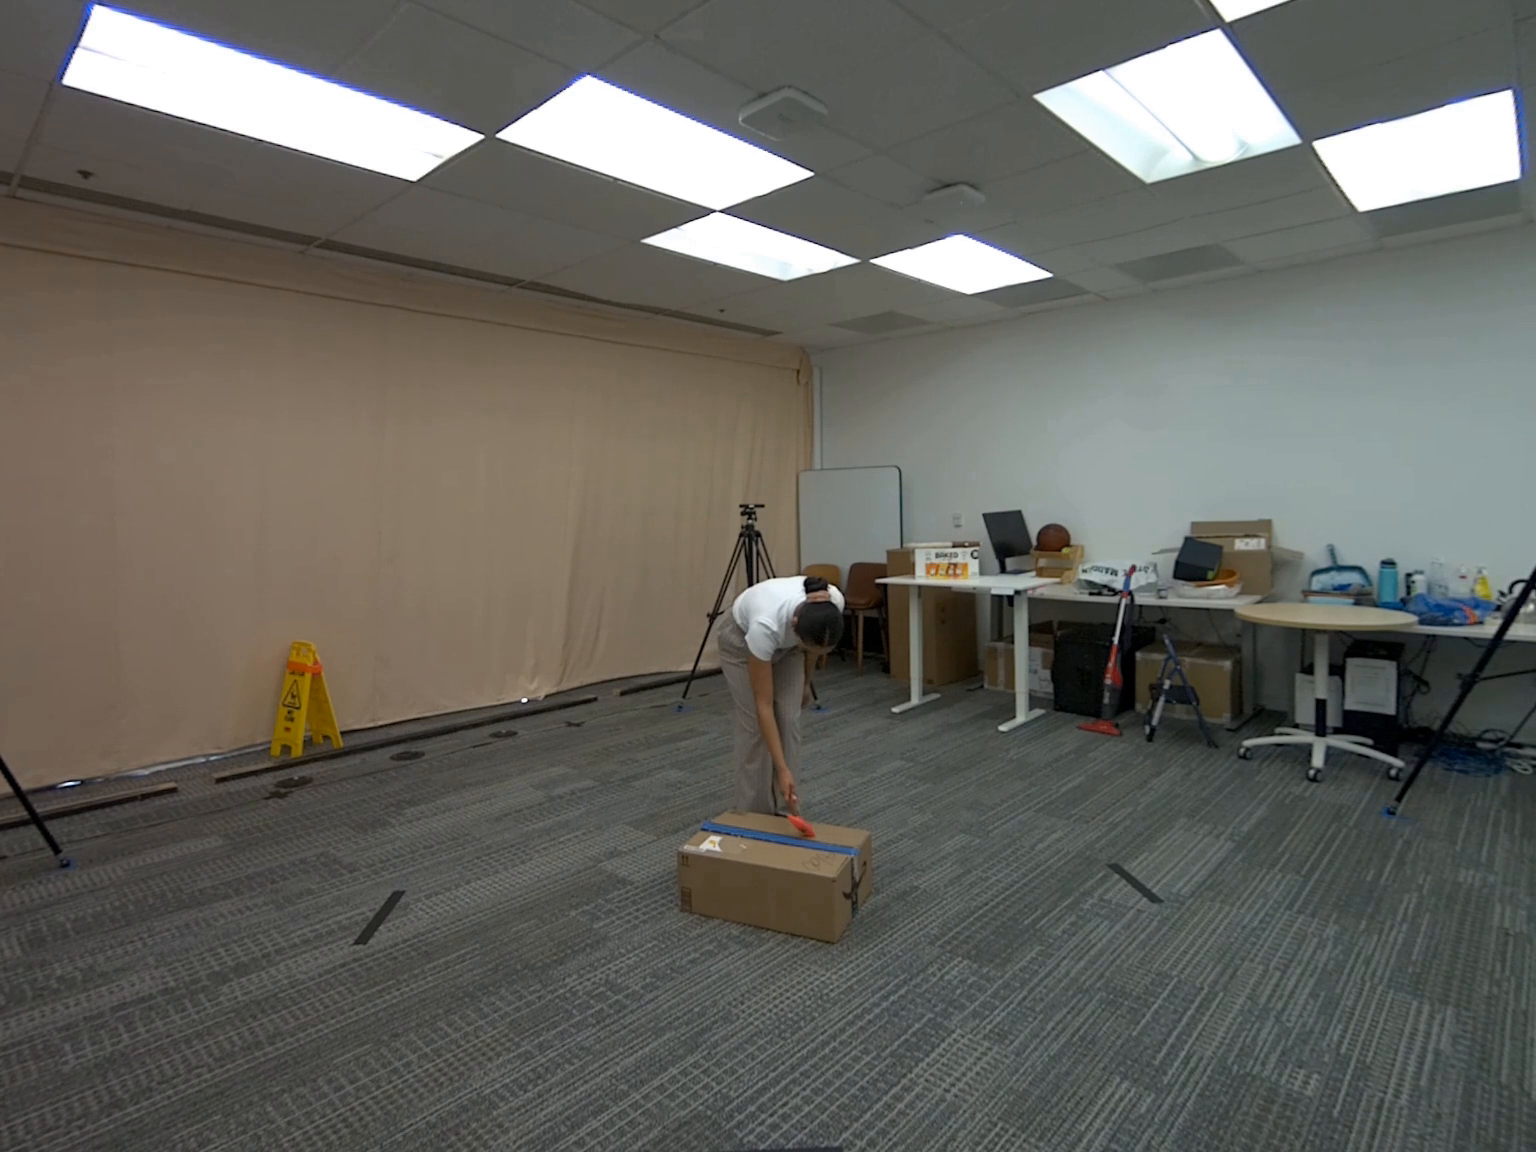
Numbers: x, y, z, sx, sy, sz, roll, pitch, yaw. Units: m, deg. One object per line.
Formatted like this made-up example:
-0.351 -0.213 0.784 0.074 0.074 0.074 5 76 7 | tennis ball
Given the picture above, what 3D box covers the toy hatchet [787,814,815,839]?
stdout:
0.131 0.864 3.065 0.131 0.029 0.270 38 5 -2 | toy hatchet
